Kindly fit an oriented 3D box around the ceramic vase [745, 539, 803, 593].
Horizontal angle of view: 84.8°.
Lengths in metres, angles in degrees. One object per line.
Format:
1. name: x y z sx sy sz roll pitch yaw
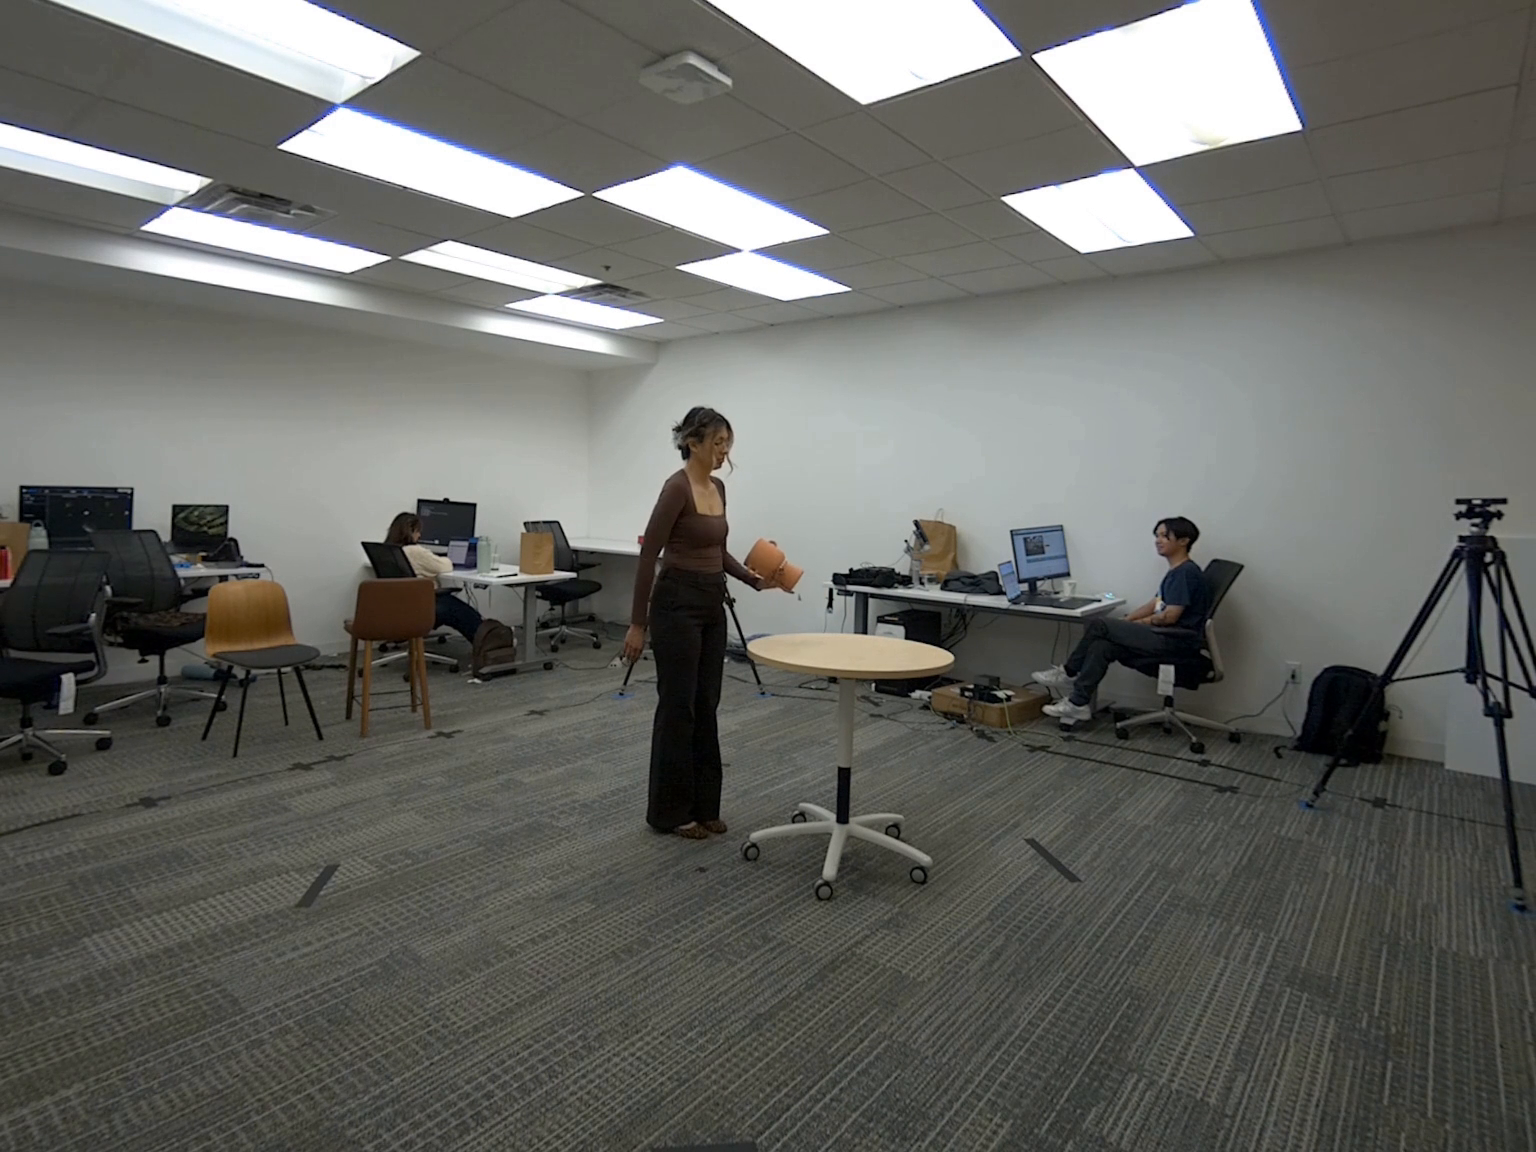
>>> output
1. ceramic vase: 0.014 -0.045 3.481 0.221 0.158 0.134 33 5 4
